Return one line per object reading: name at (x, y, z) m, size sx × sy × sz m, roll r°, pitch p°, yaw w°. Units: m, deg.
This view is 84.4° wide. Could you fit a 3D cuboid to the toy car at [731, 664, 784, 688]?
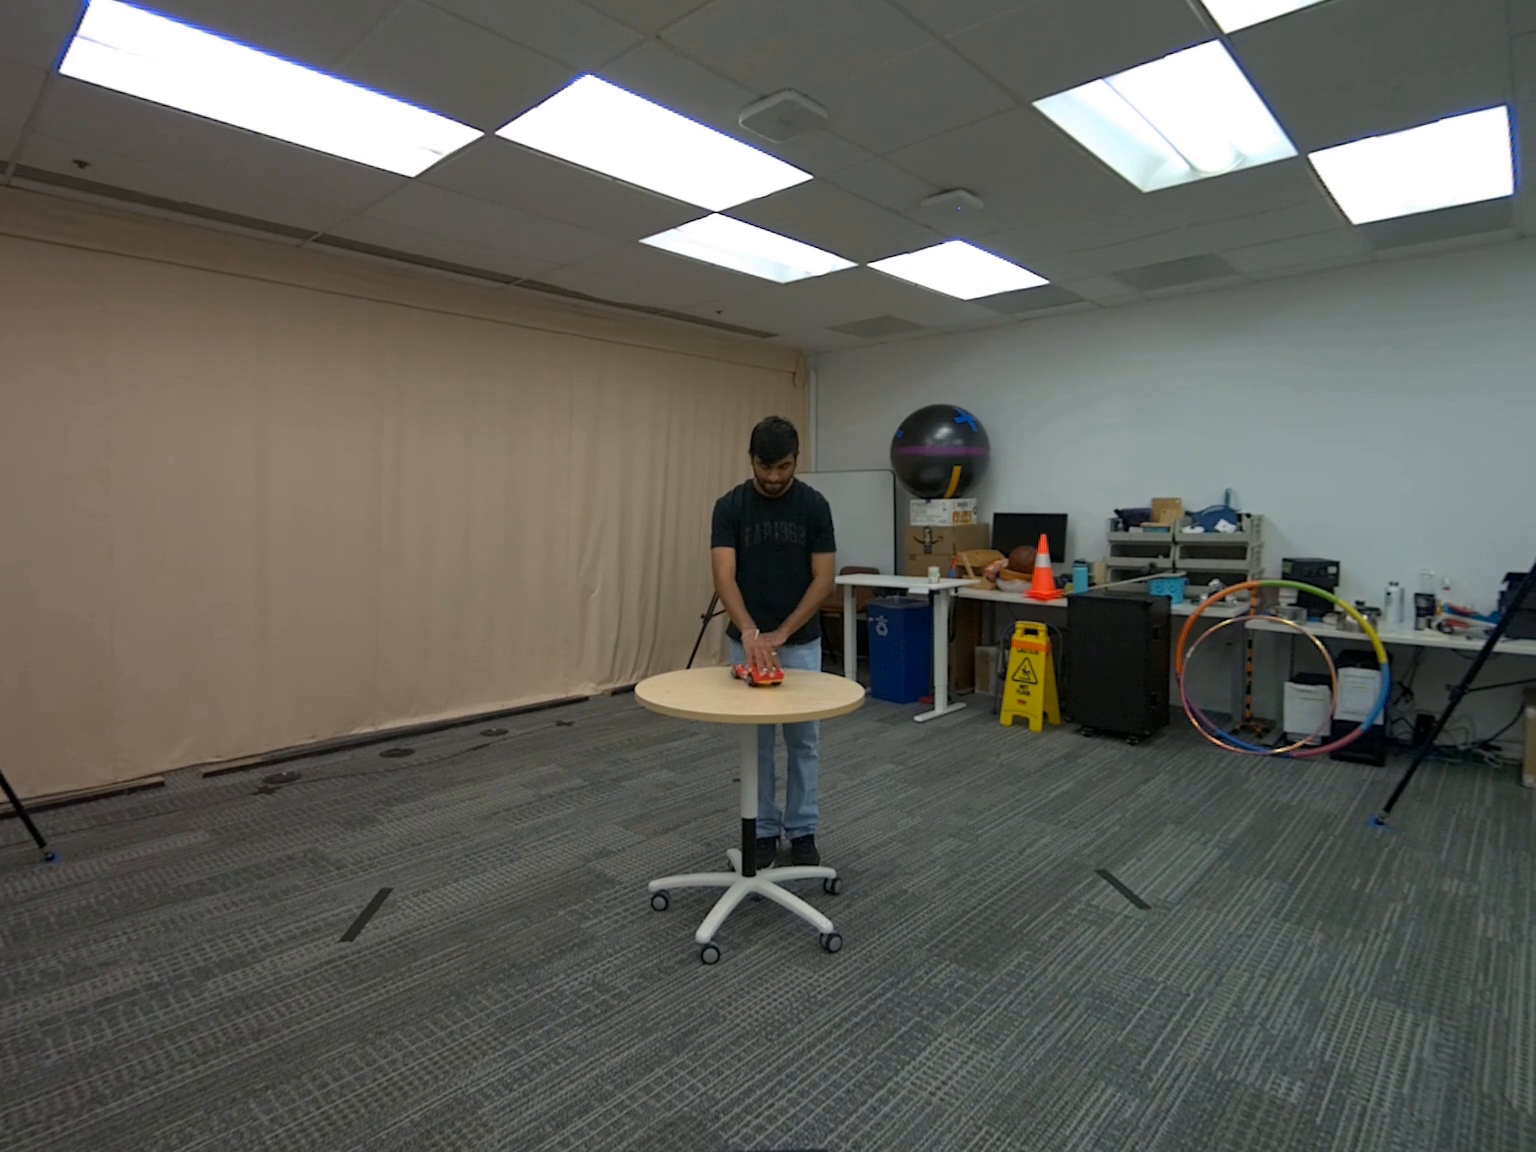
toy car at (-0.035, 0.336, 2.897) m, size 0.127 × 0.083 × 0.259 m, roll -1°, pitch -6°, yaw -22°
